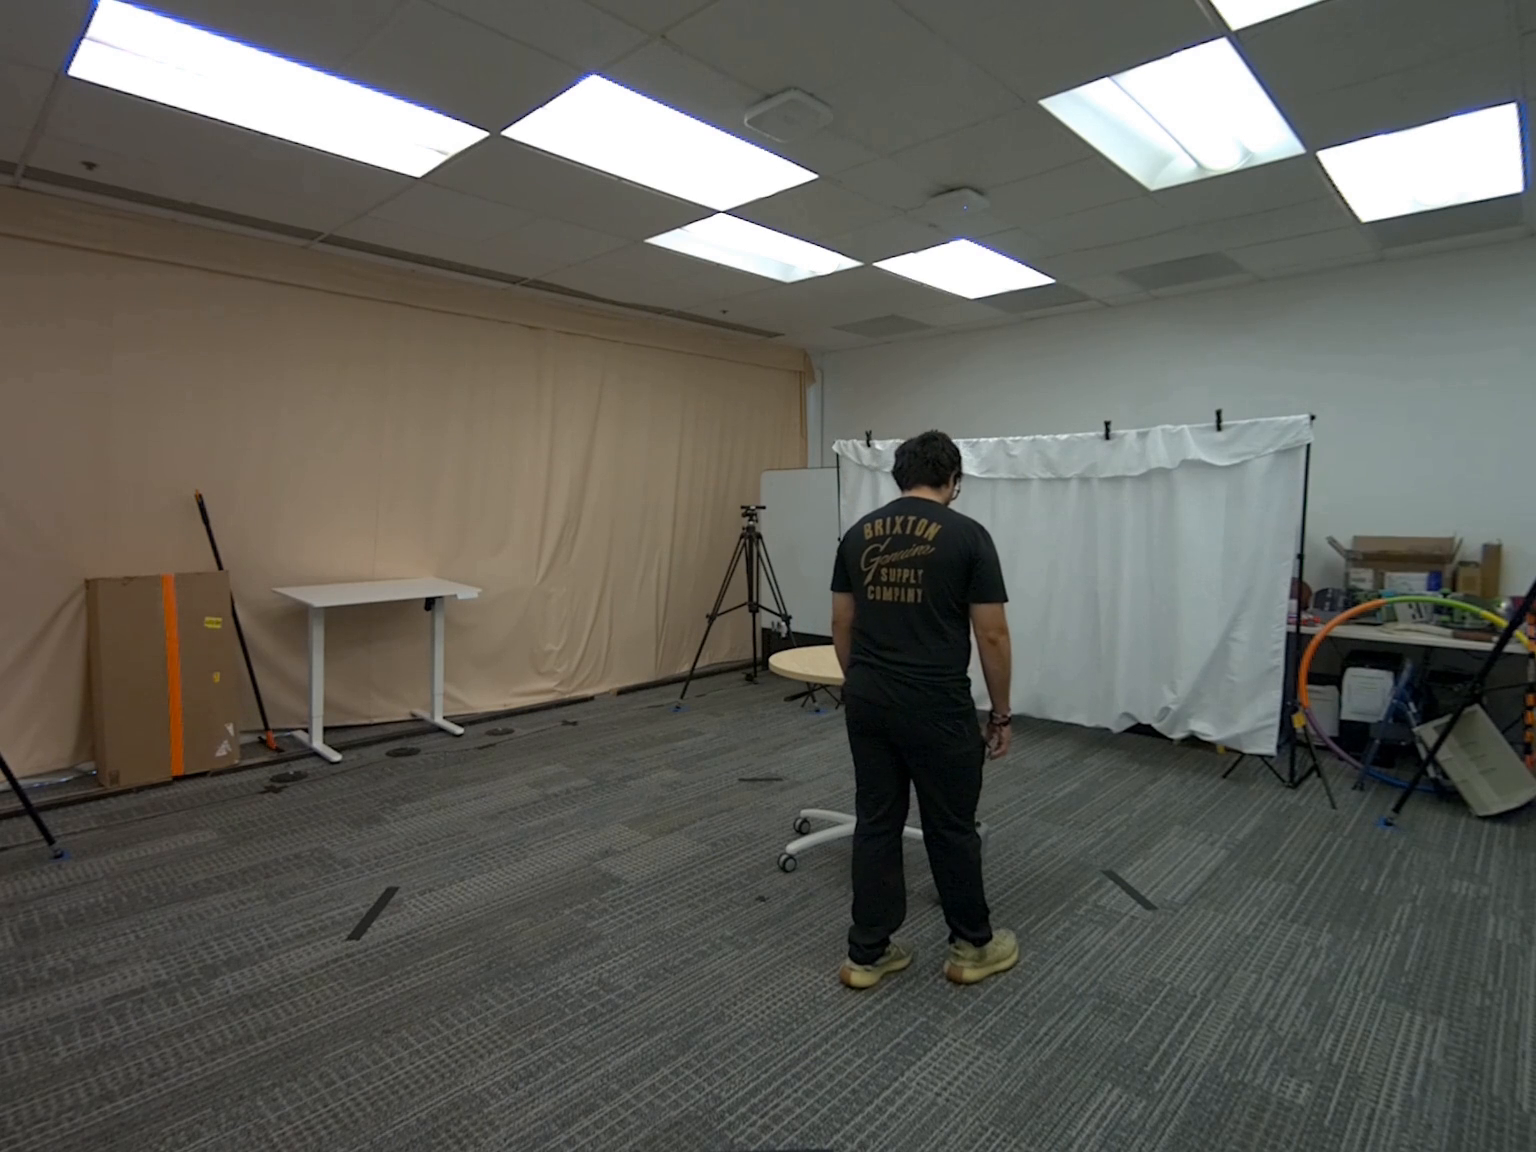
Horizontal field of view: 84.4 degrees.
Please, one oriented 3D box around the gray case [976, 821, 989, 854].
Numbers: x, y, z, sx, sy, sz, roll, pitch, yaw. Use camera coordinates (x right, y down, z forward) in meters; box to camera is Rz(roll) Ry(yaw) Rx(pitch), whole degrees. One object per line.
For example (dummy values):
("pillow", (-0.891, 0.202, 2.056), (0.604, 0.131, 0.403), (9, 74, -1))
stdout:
("gray case", (0.700, 1.013, 2.984), (0.108, 0.259, 0.250), (13, 10, 32))
